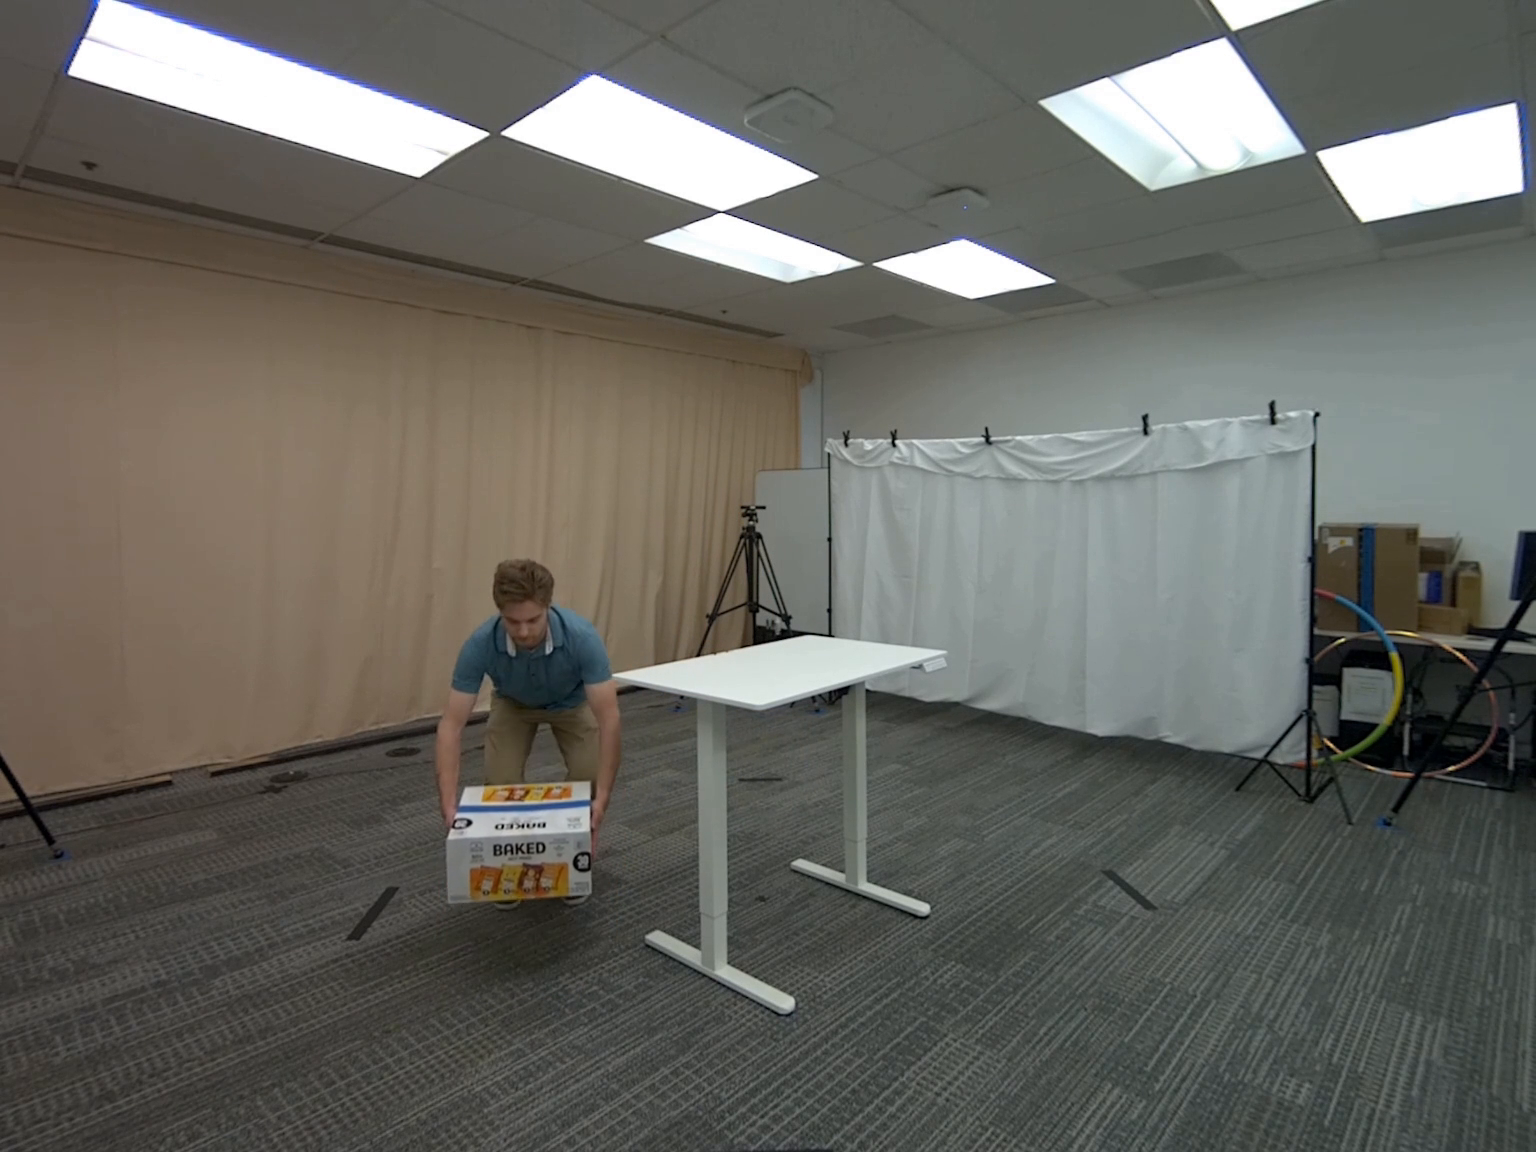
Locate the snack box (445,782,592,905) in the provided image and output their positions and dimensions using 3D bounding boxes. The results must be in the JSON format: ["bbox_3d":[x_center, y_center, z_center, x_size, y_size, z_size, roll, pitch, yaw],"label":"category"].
[{"bbox_3d":[-0.739,0.803,2.565,0.401,0.204,0.346,-1,9,-10],"label":"snack box"}]
